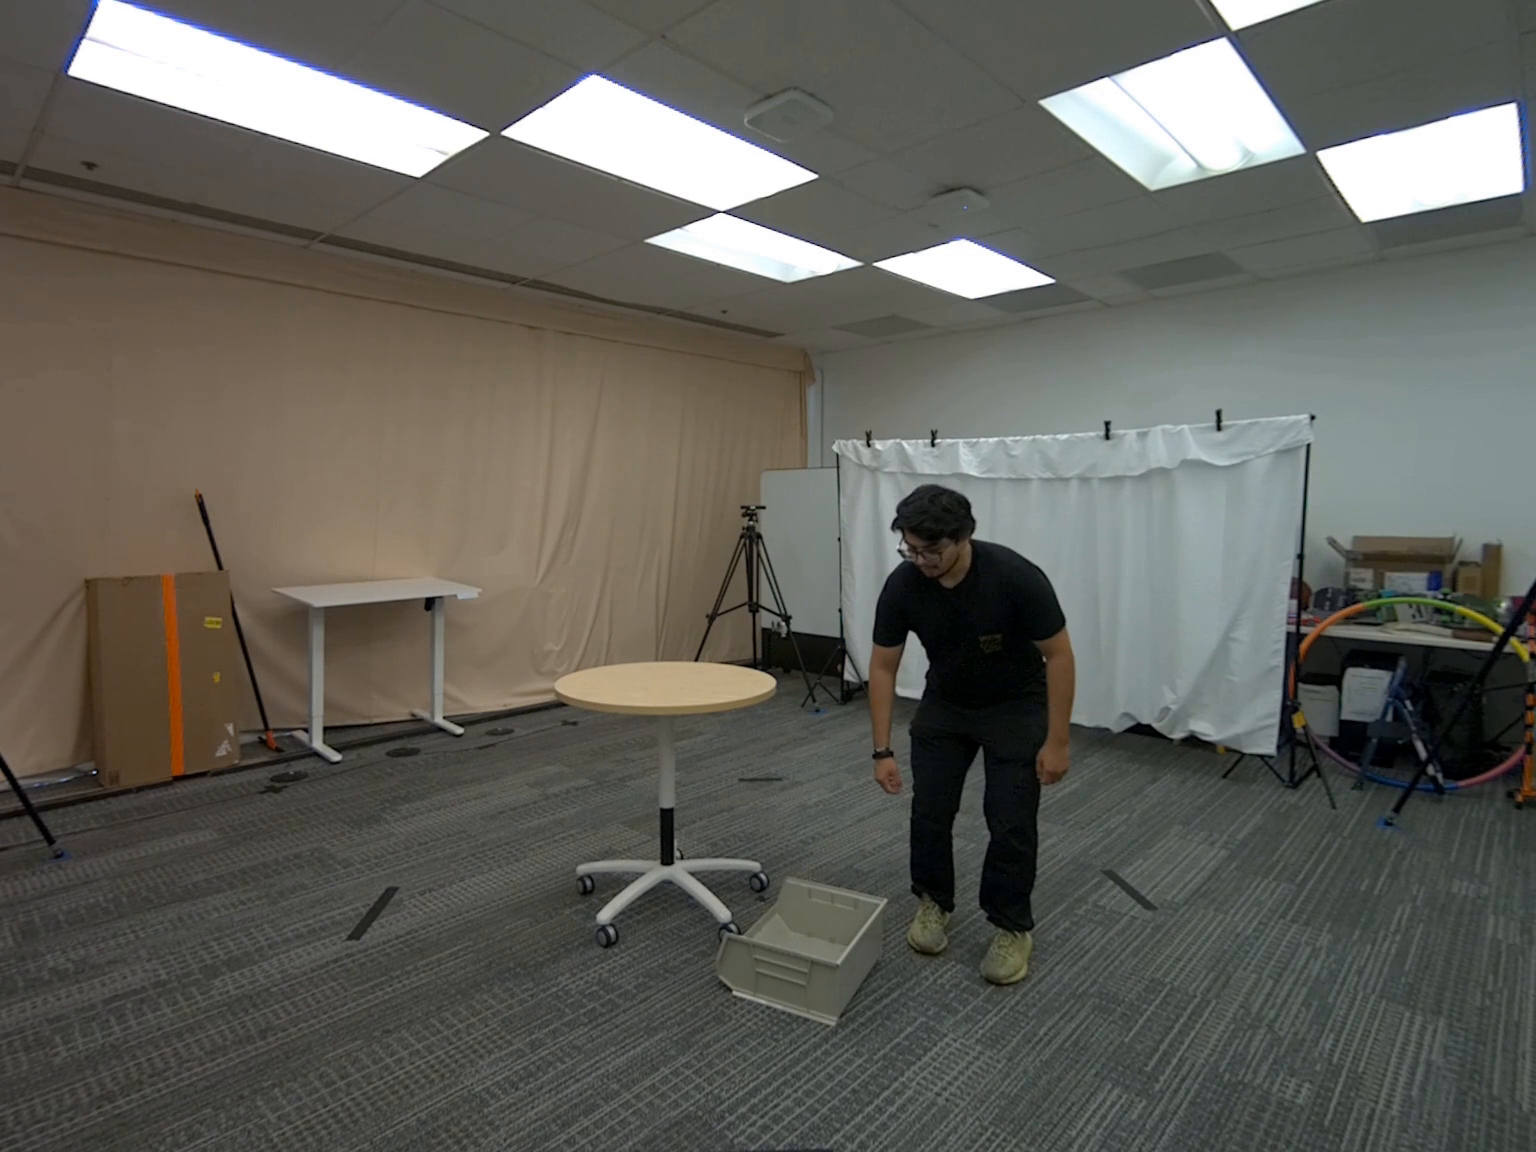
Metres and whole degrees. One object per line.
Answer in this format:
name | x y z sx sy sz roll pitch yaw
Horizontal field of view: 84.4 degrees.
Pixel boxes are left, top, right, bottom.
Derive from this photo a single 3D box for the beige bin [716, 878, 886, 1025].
beige bin | 0.113 1.098 2.501 0.388 0.188 0.412 3 5 28
